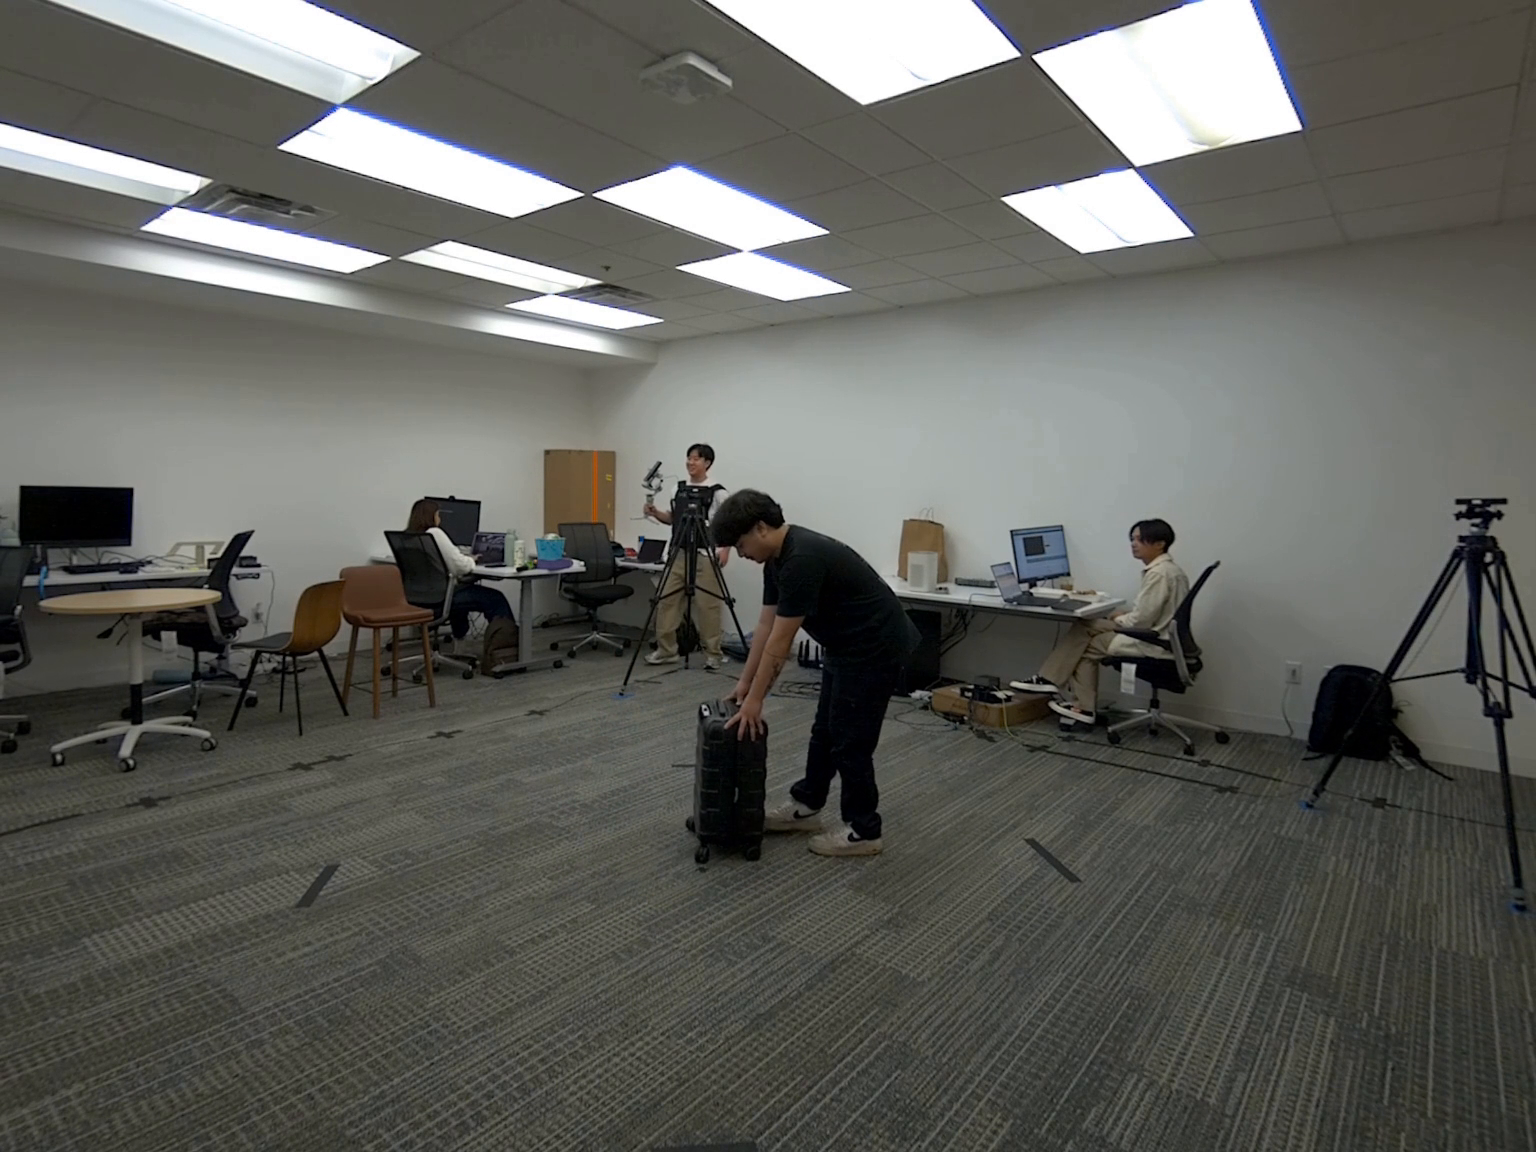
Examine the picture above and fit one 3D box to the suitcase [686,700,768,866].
[{"bbox_3d":[-0.161,0.776,3.340,0.246,0.548,0.380,2,3,-9],"label":"suitcase"}]
